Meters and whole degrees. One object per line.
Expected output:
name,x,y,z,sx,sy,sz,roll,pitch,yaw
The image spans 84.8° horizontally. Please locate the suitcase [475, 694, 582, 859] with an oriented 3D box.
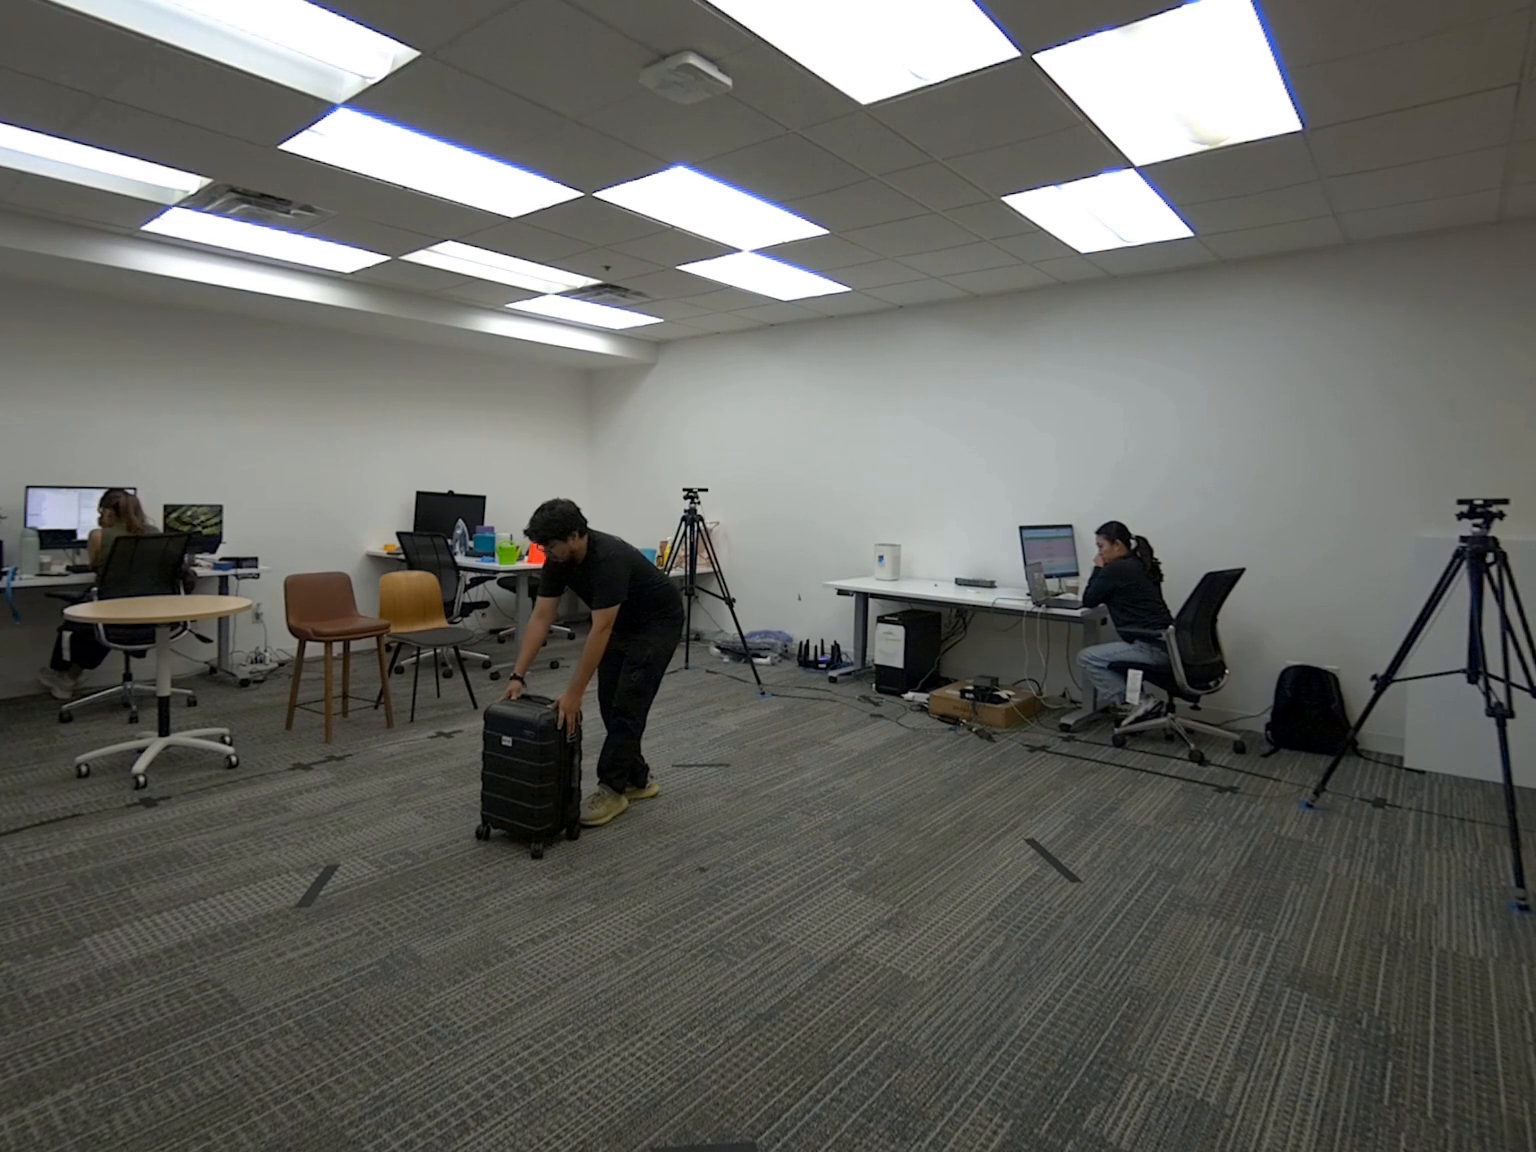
suitcase,-0.954,0.760,3.361,0.387,0.549,0.241,2,1,33
